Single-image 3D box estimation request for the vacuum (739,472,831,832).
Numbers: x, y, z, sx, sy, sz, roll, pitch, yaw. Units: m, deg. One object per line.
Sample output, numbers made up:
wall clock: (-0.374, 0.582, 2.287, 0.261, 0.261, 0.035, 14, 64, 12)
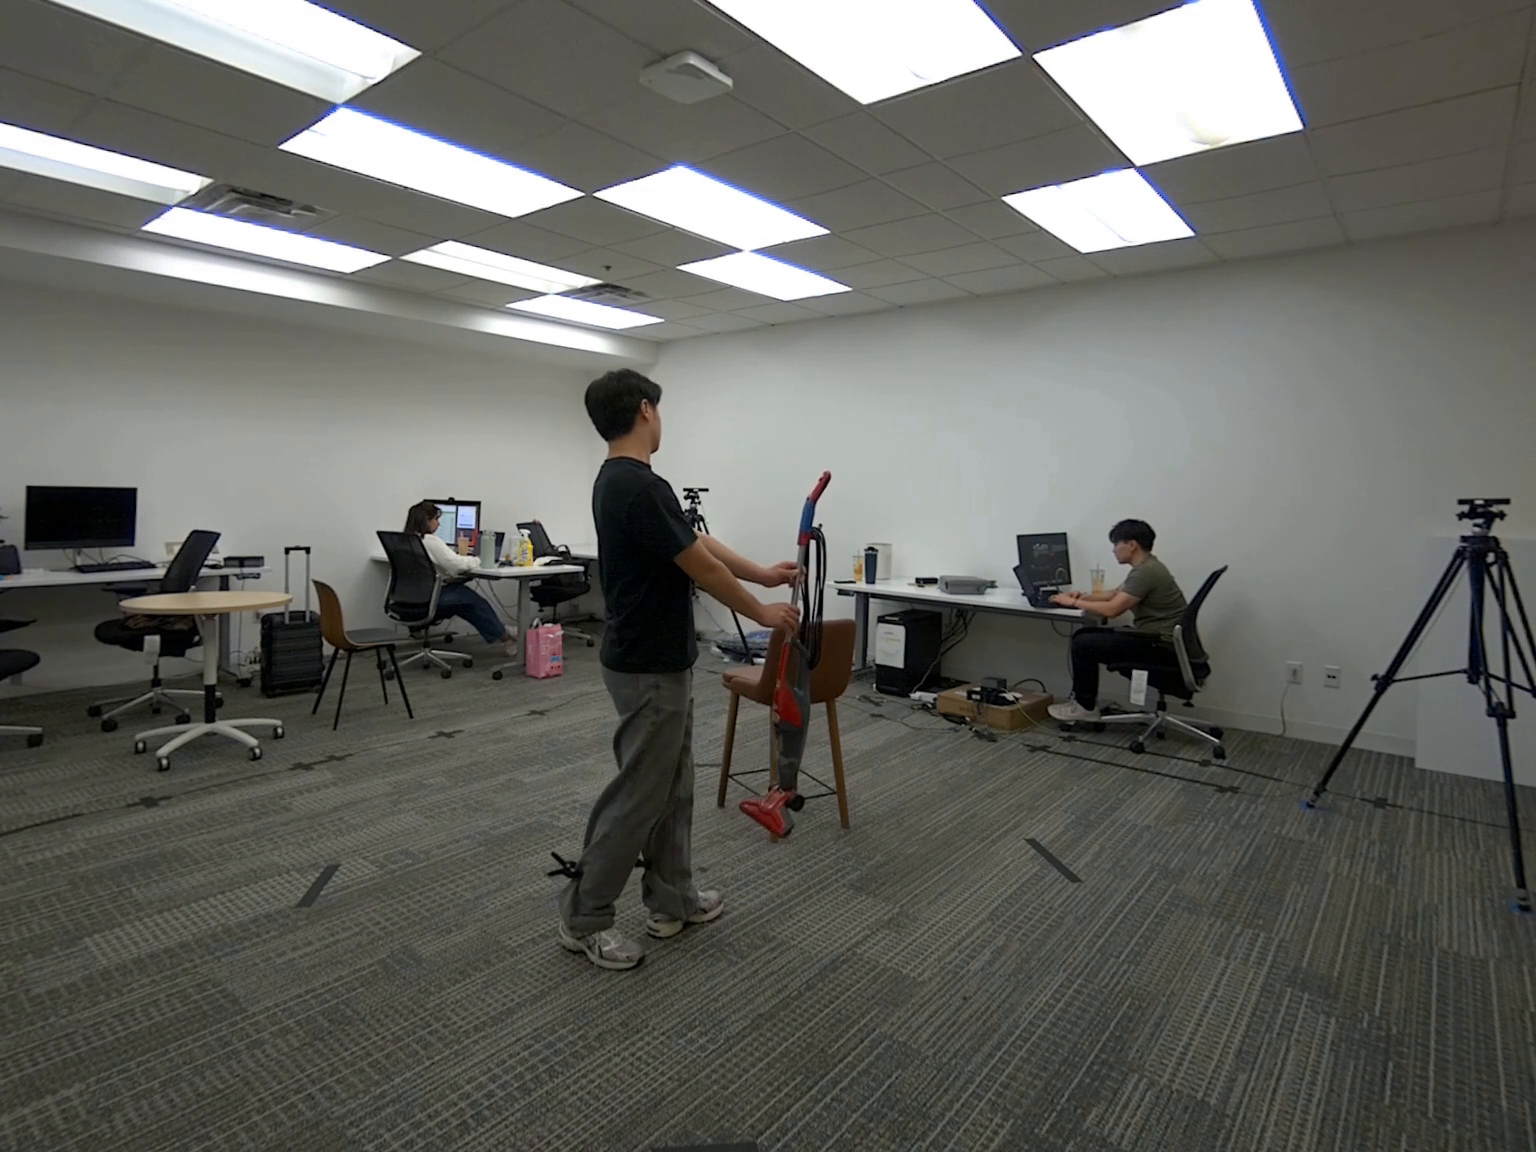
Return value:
vacuum: (0.101, 0.205, 2.635, 0.139, 1.050, 0.261, 9, -1, -34)
